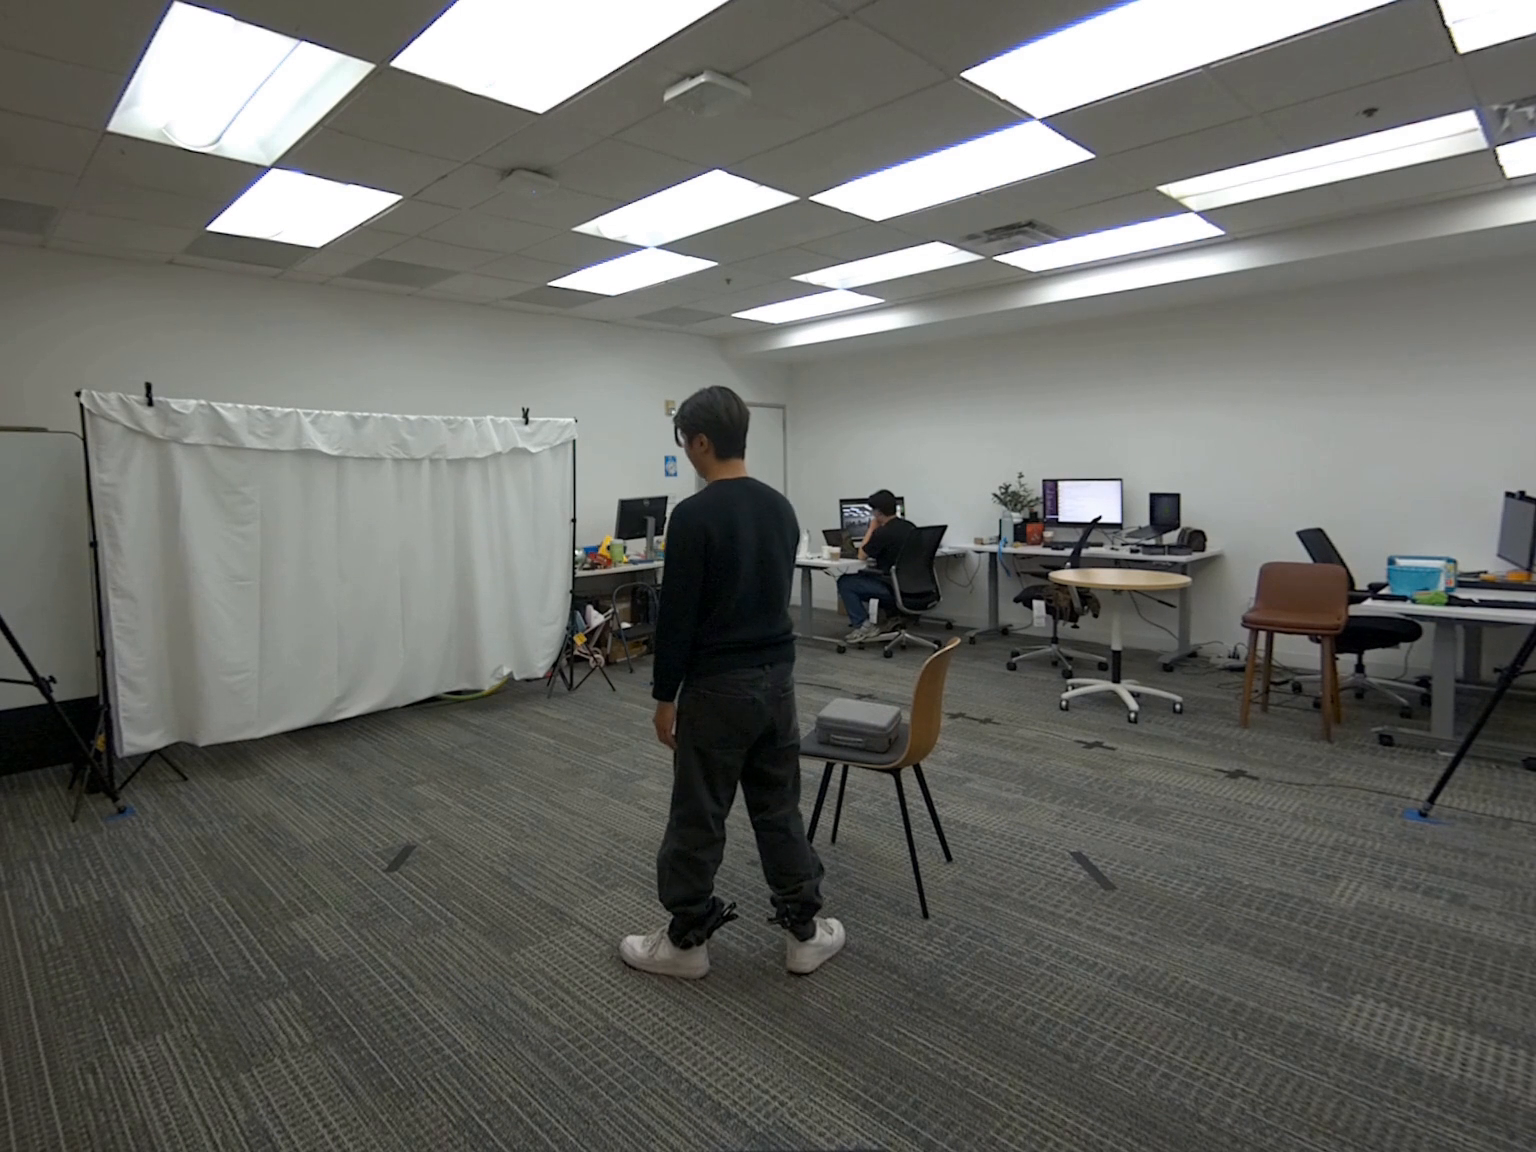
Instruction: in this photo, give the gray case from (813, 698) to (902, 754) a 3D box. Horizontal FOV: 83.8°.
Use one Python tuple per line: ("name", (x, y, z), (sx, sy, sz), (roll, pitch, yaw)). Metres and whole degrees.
("gray case", (0.312, 0.514, 2.978), (0.263, 0.103, 0.256), (6, 10, 22))
